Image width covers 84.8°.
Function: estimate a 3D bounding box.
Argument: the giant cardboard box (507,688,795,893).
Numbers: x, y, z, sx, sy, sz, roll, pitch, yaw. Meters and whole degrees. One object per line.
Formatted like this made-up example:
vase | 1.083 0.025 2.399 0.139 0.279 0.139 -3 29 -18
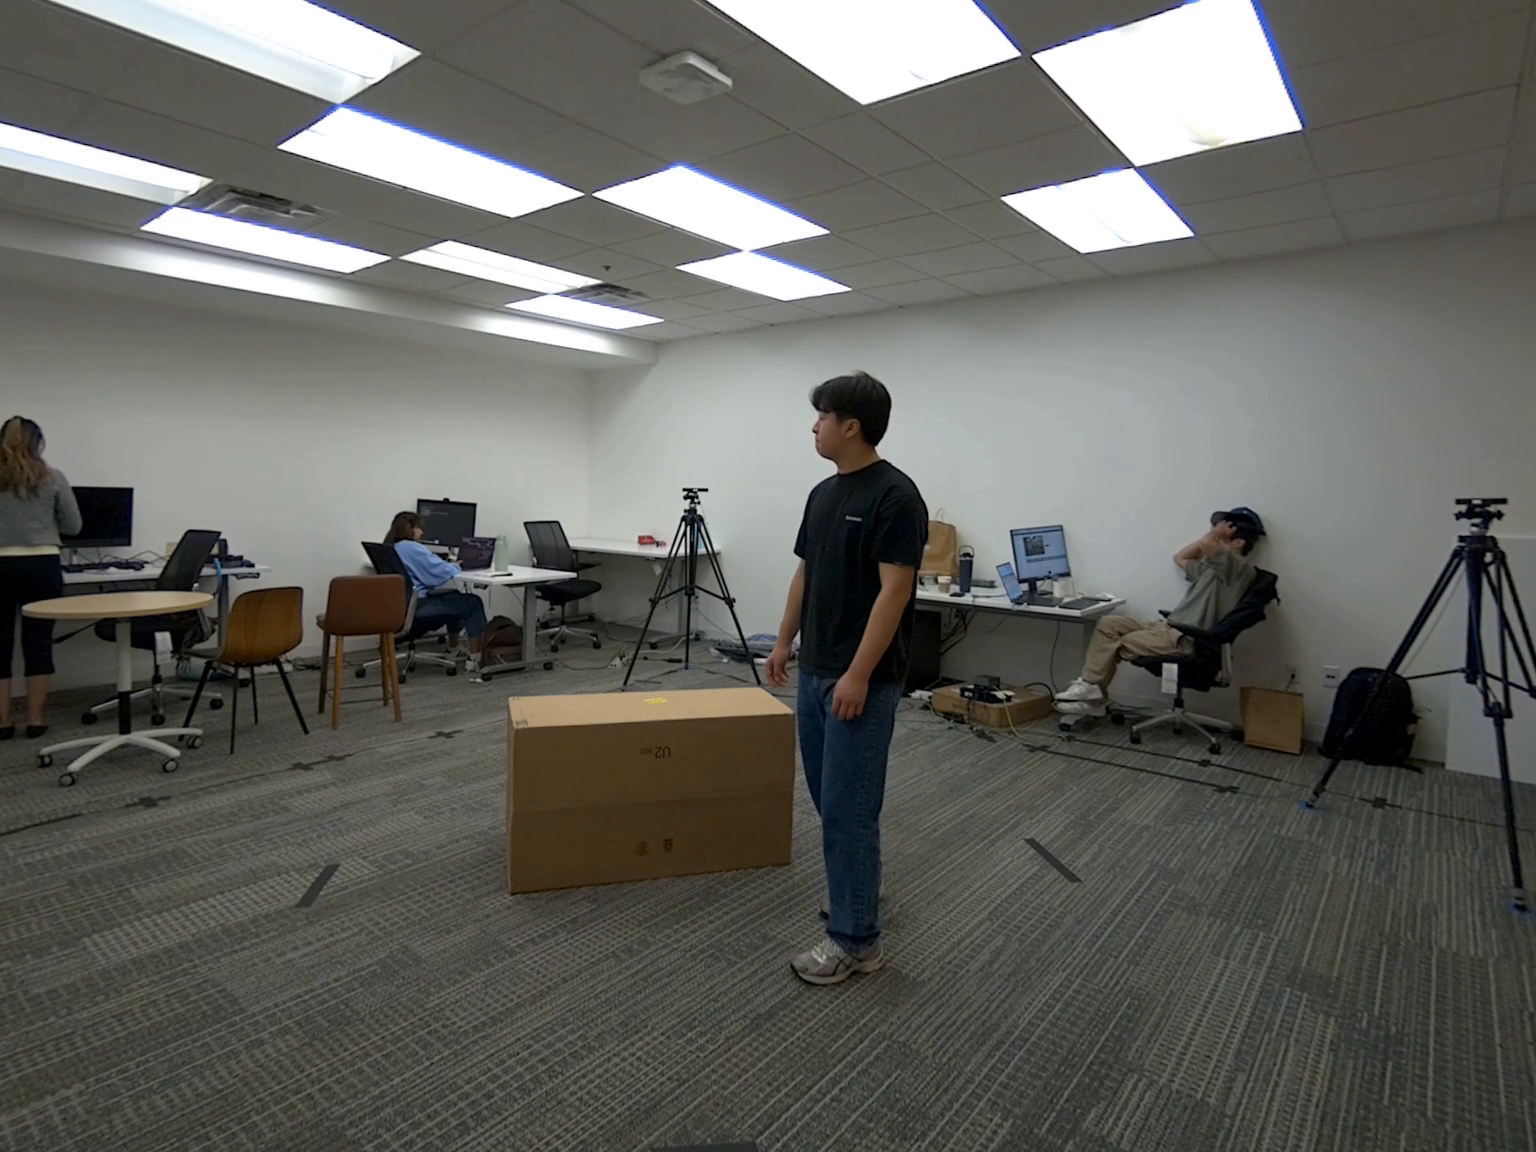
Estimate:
giant cardboard box | -0.463 0.766 3.212 1.008 0.583 0.456 0 3 -18
